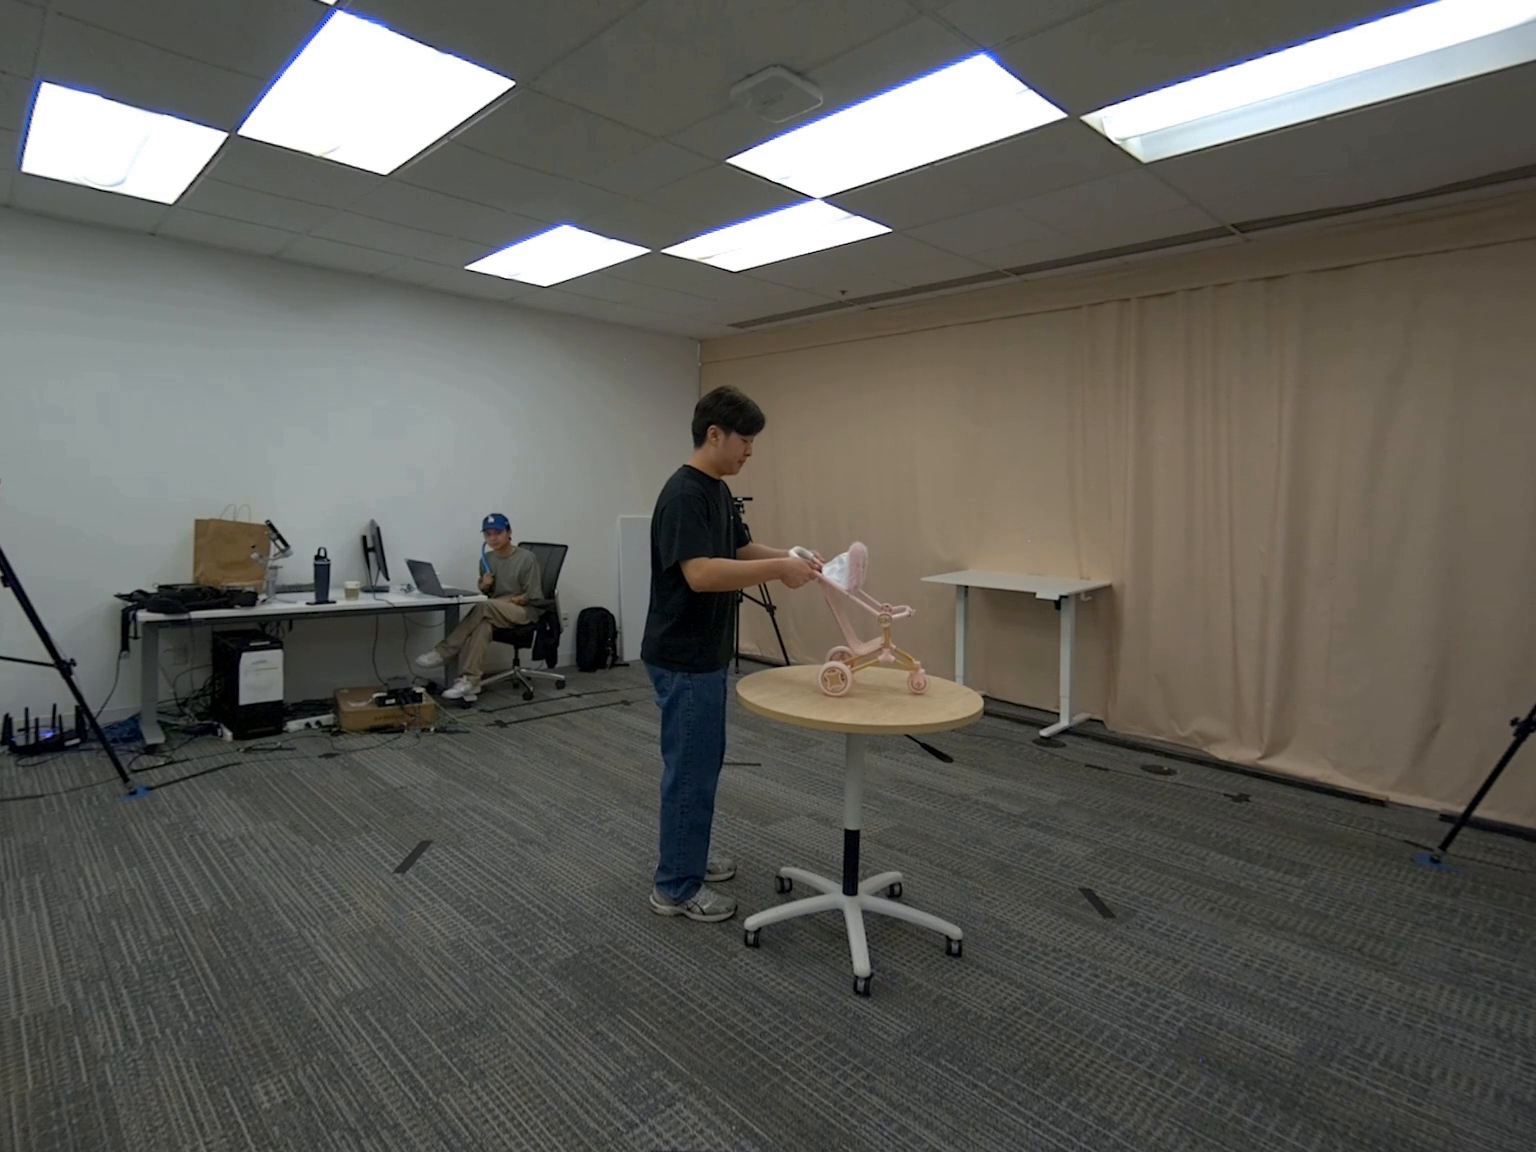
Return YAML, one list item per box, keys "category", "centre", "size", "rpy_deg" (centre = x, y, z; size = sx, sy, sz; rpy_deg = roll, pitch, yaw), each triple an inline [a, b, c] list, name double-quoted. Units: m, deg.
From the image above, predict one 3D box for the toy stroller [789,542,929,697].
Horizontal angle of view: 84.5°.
- category: "toy stroller"
  centre: [0.288, 0.138, 2.649]
  size: [0.345, 0.535, 0.278]
  rpy_deg: [-12, 0, 16]
